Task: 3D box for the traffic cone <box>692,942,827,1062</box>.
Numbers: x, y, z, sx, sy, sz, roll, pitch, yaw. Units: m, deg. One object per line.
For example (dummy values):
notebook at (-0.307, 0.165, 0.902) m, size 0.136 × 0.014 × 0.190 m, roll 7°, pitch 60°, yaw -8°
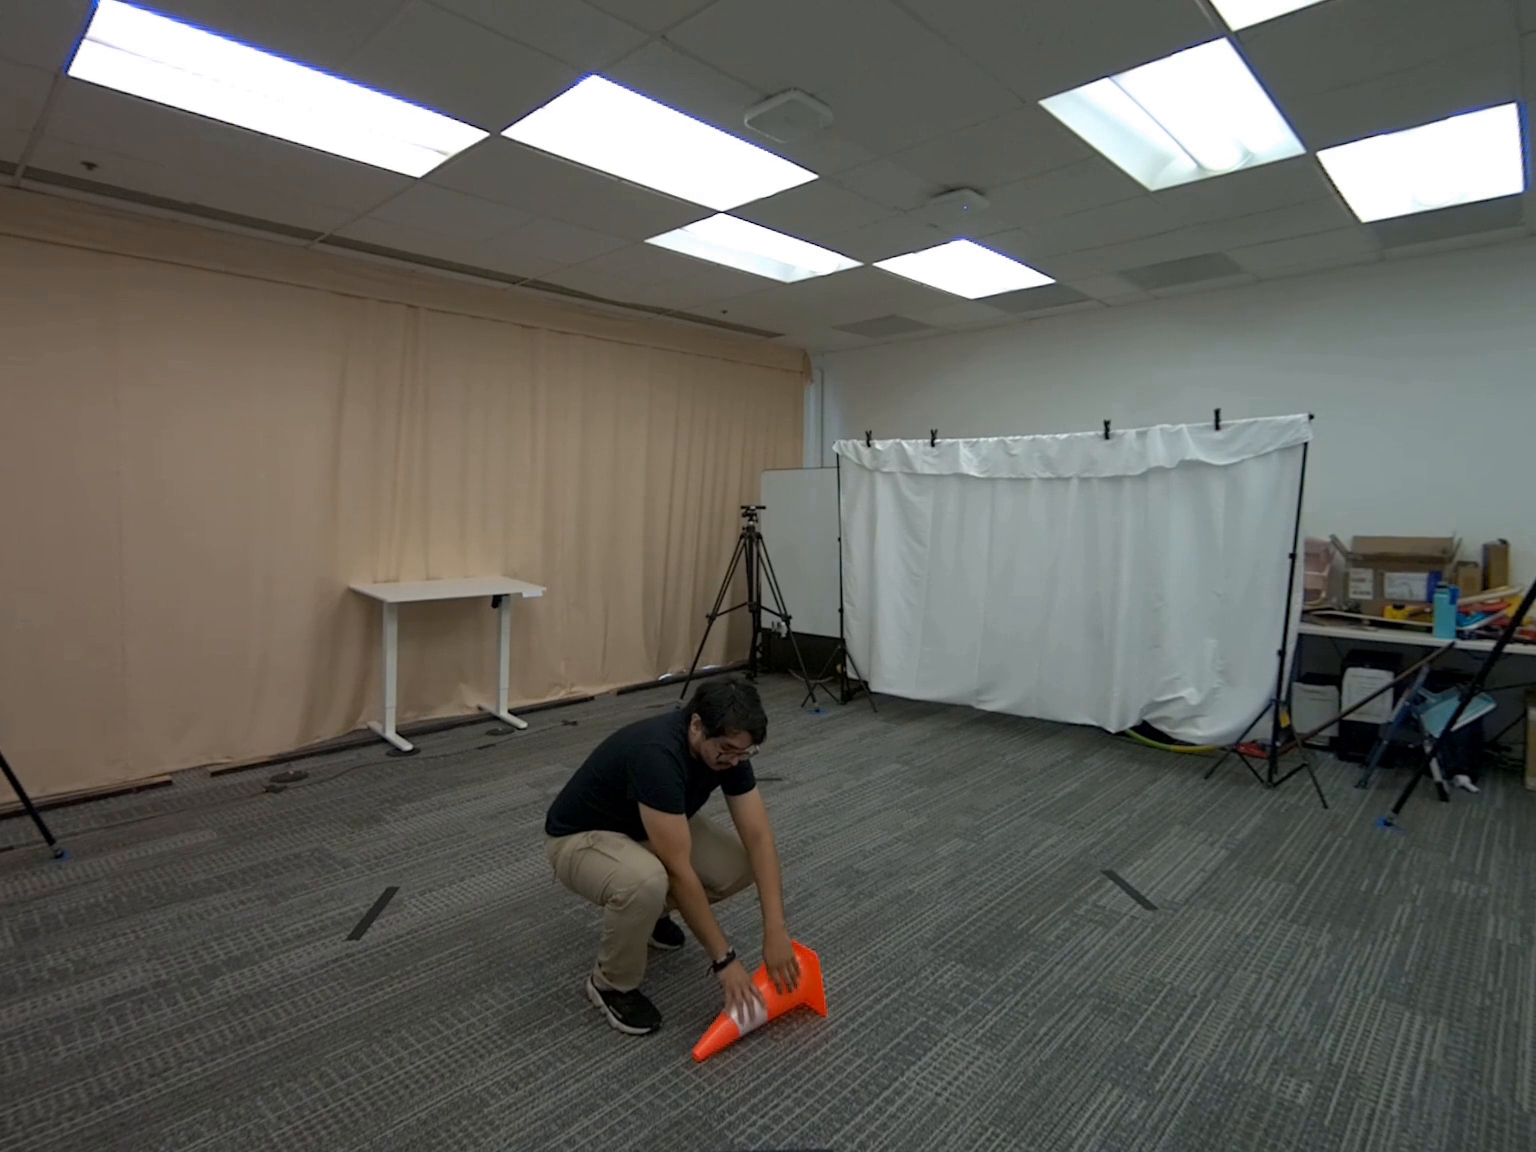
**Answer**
traffic cone at (-0.049, 1.157, 2.225) m, size 0.375 × 0.203 × 0.210 m, roll -22°, pitch 16°, yaw -40°
